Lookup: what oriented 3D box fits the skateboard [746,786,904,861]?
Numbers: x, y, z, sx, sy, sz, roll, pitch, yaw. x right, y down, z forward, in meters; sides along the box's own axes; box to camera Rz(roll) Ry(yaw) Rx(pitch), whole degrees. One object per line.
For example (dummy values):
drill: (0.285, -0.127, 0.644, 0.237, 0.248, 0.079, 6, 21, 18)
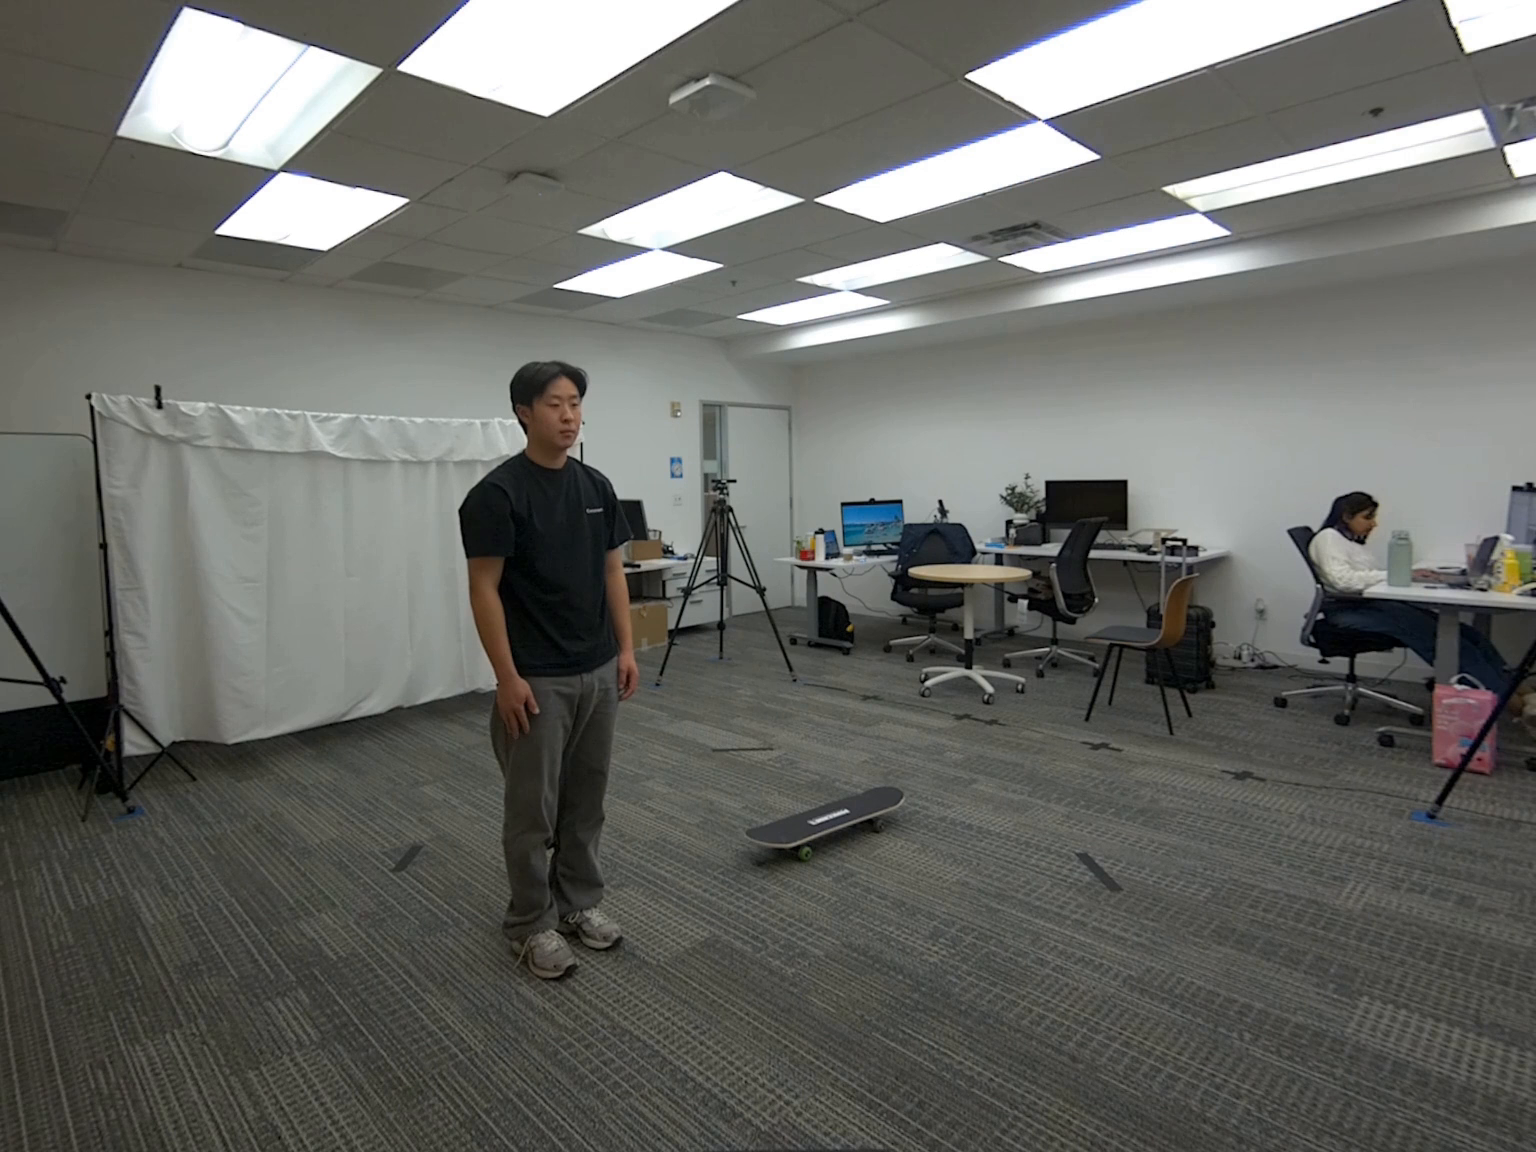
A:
skateboard: (0.238, 0.961, 3.311, 0.765, 0.110, 0.199, -6, 7, -39)
